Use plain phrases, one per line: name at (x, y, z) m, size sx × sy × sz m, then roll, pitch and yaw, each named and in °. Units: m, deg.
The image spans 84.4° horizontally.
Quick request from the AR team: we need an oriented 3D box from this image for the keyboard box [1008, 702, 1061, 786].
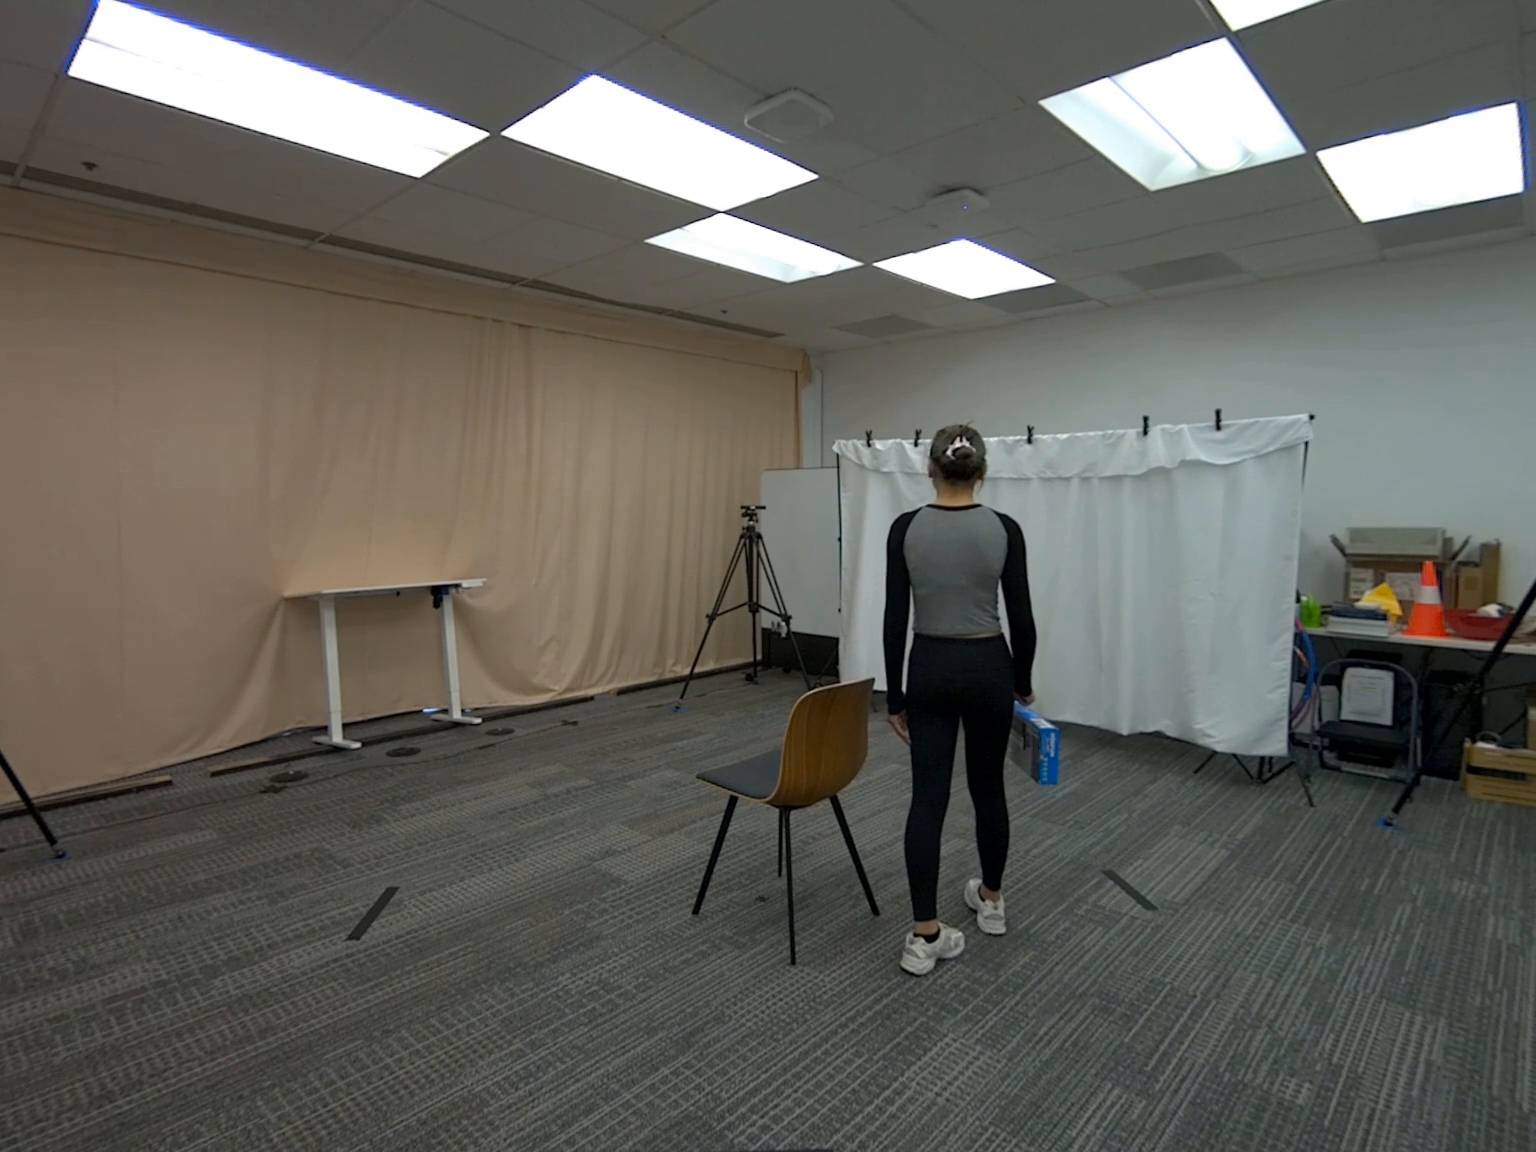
keyboard box at (0.817, 0.512, 2.711) m, size 0.059 × 0.175 × 0.440 m, roll 0°, pitch 6°, yaw -5°
